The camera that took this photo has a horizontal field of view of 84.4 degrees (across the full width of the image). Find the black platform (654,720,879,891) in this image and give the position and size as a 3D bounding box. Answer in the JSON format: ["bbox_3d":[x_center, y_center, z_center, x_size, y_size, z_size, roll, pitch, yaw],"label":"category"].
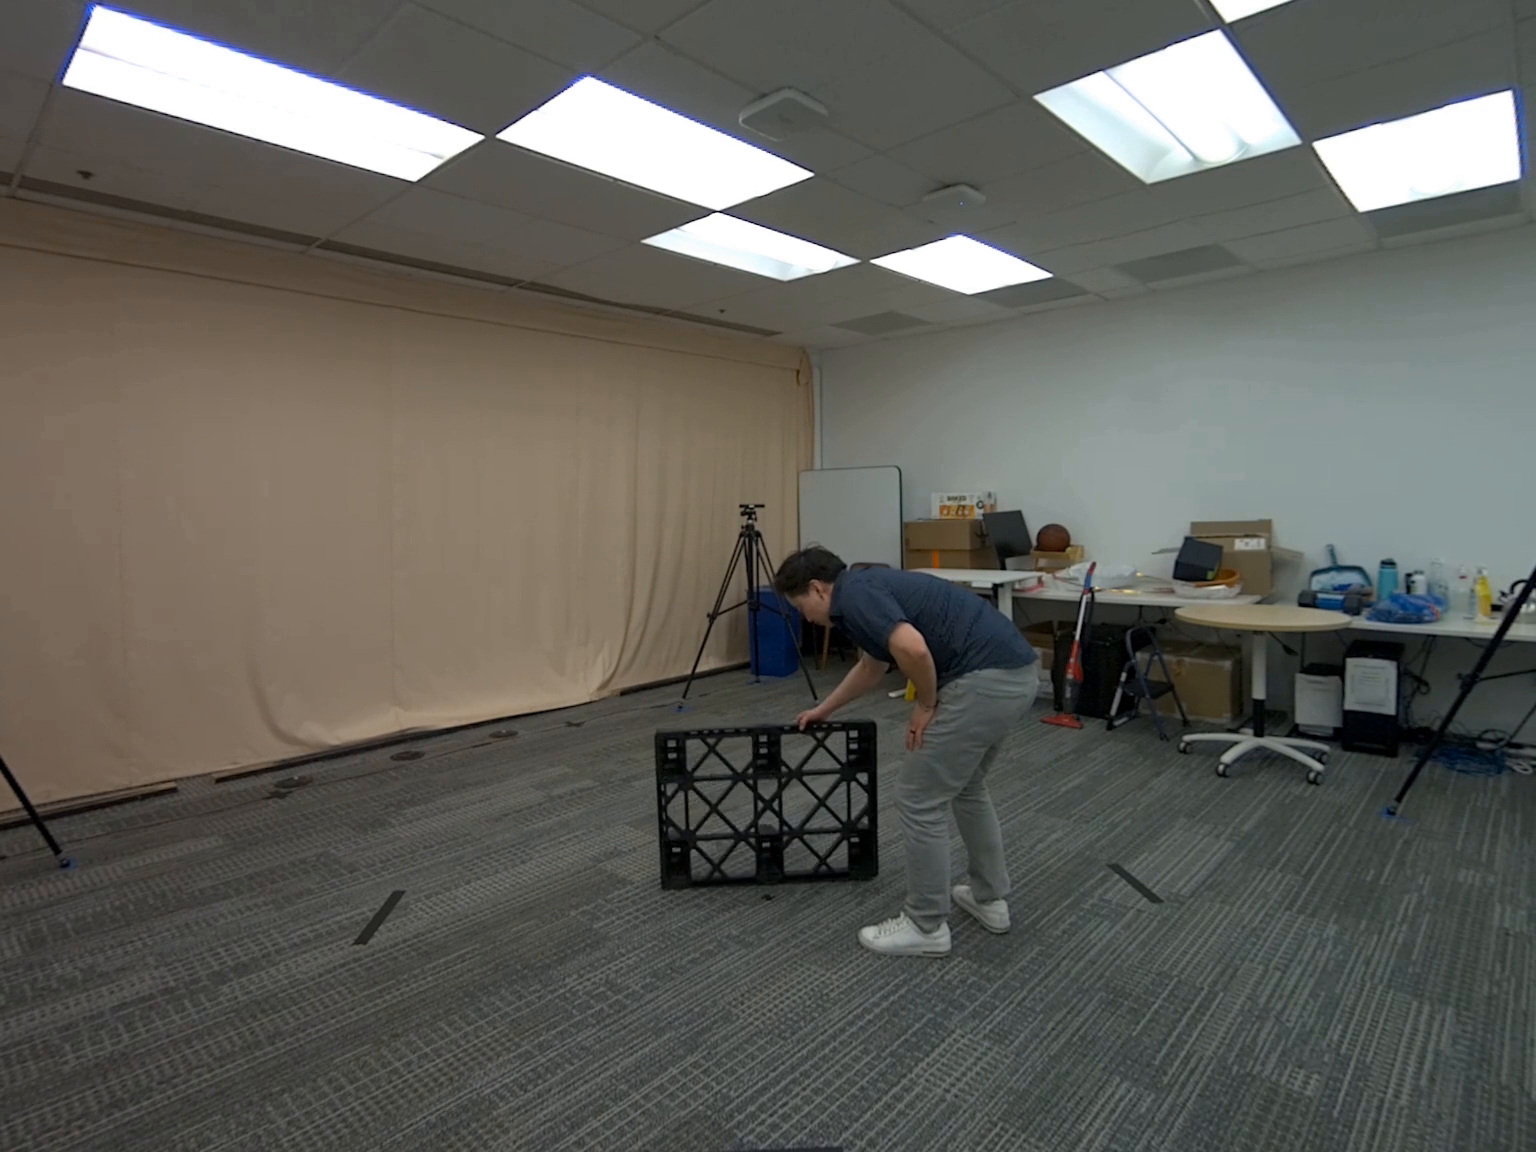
[{"bbox_3d":[-0.003,0.823,3.091,0.803,0.602,0.144,-2,7,-3],"label":"black platform"}]
